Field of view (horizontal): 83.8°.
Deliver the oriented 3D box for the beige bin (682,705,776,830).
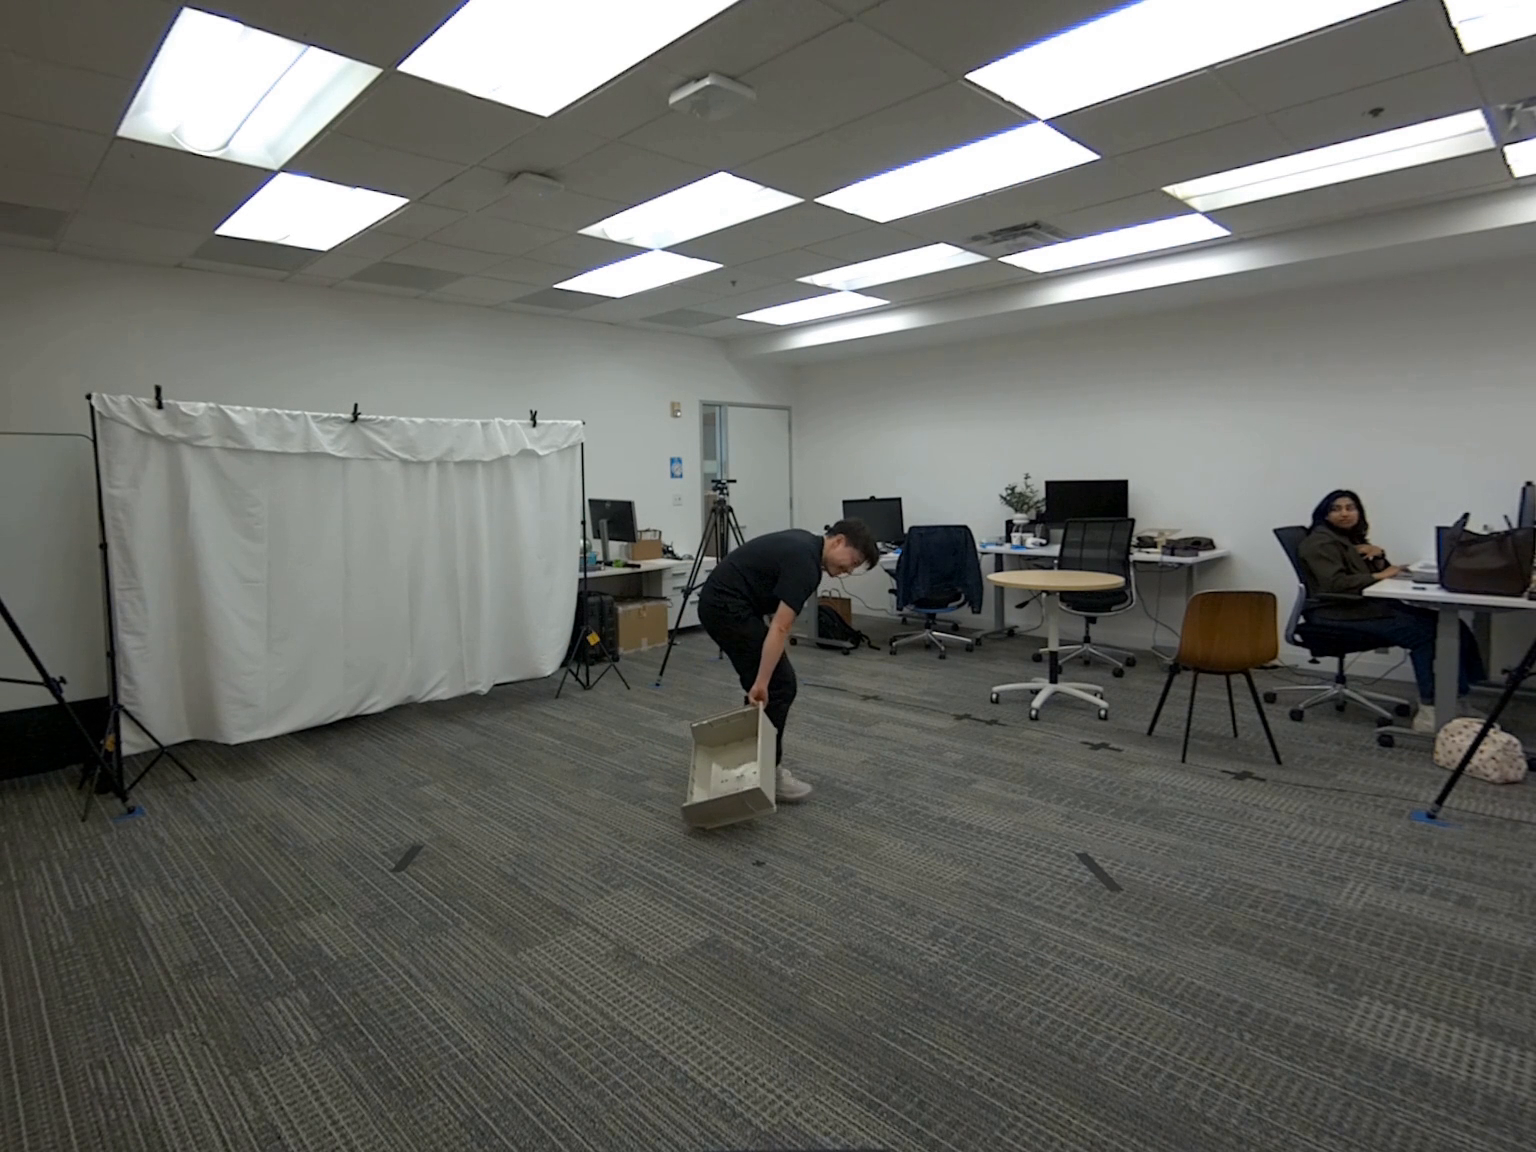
[{"bbox_3d":[-0.168,0.783,3.484,0.381,0.182,0.432,-17,36,16],"label":"beige bin"}]
